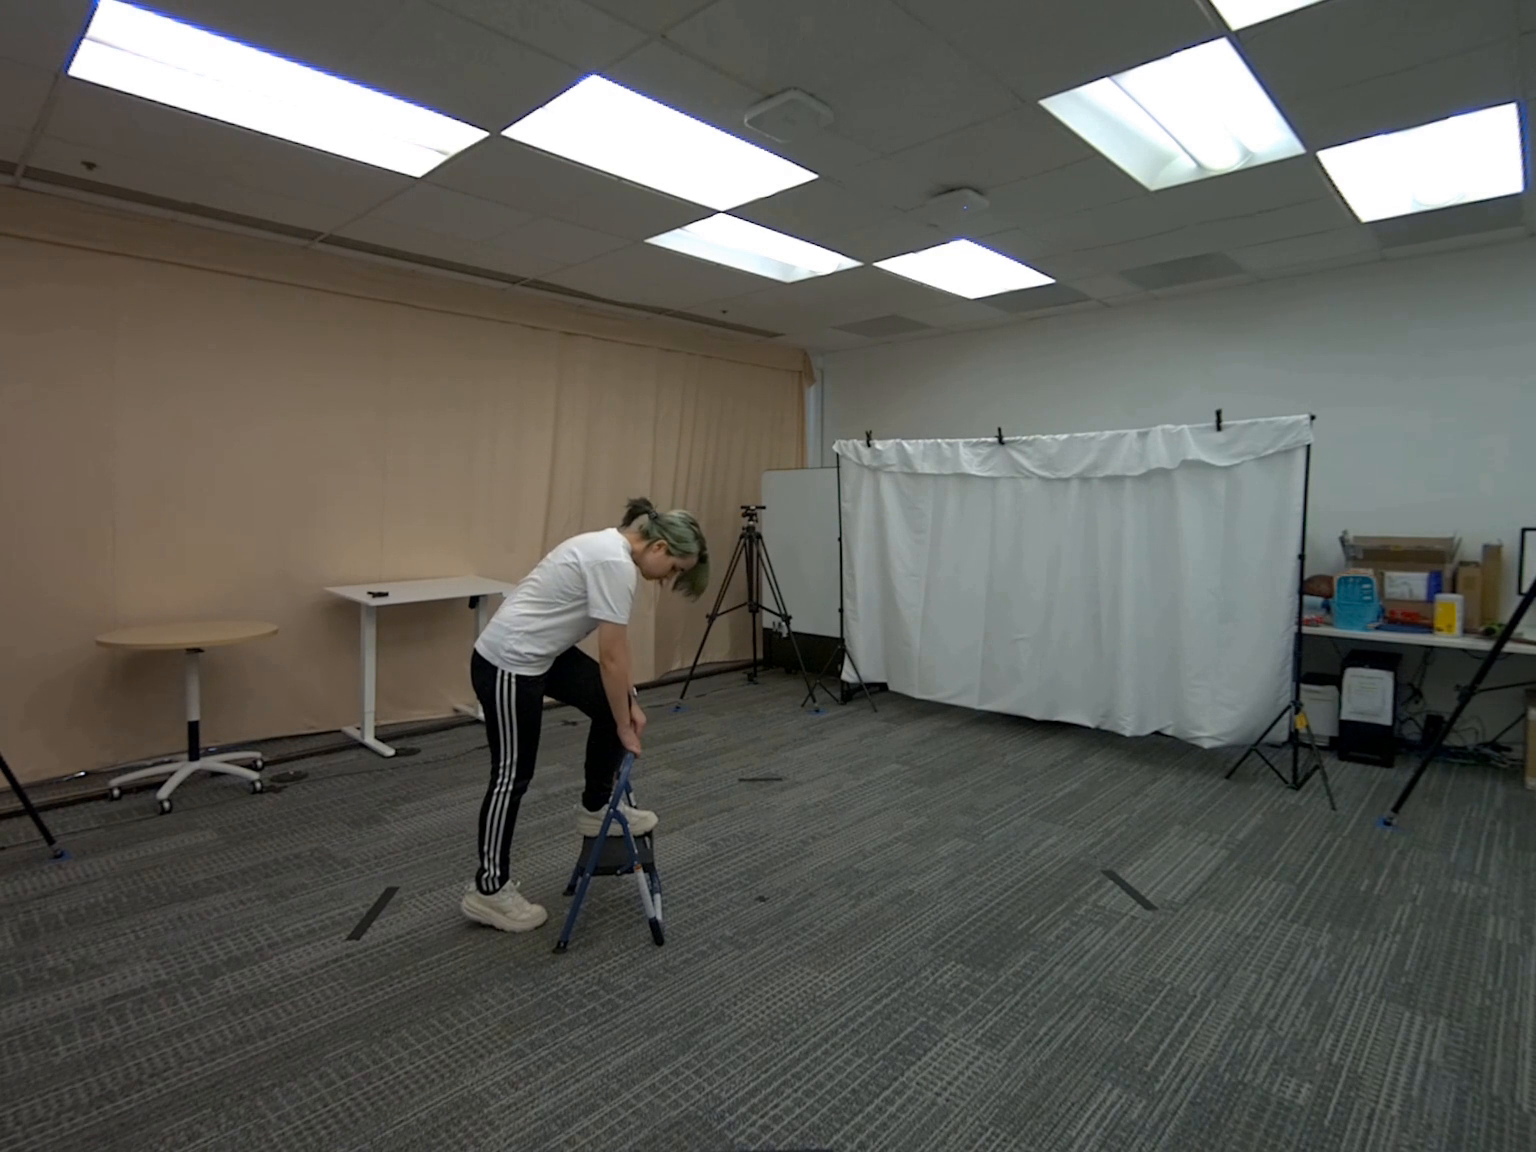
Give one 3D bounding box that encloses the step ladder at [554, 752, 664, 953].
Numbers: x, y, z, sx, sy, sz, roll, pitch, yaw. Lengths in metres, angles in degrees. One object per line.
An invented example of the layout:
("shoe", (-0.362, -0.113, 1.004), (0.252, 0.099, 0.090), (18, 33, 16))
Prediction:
("step ladder", (-0.533, 0.866, 2.833), (0.346, 0.605, 0.435), (-1, 4, -9))
